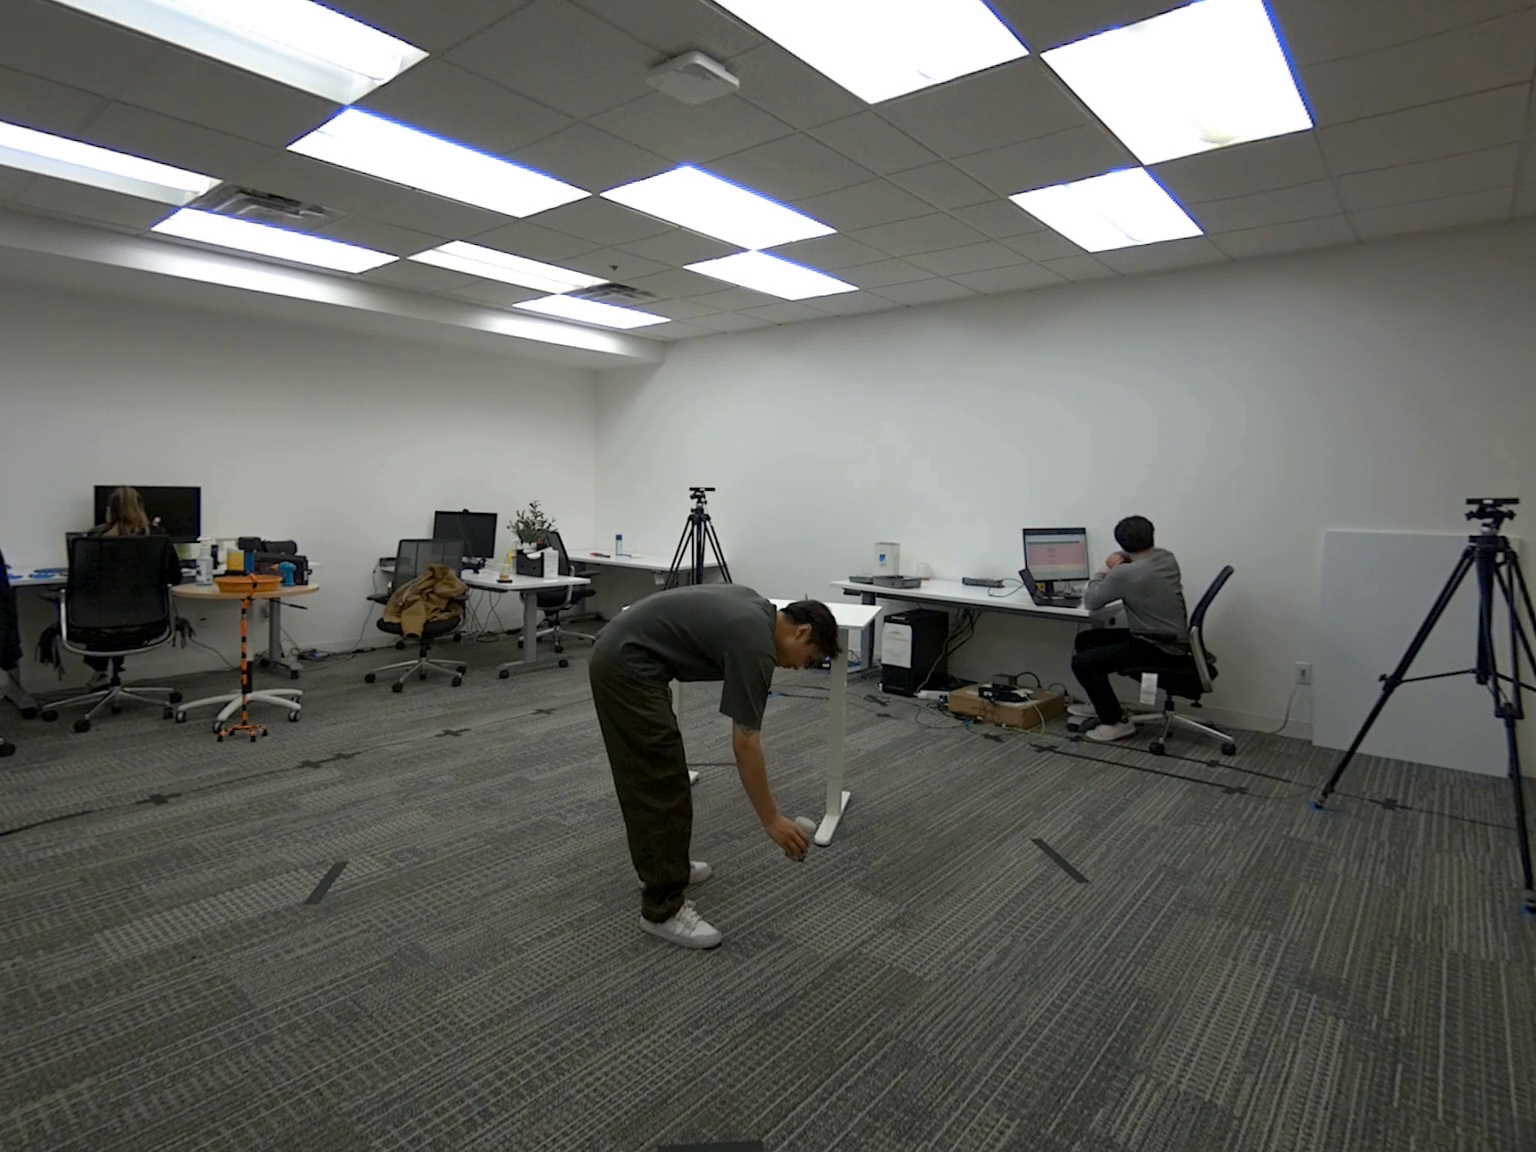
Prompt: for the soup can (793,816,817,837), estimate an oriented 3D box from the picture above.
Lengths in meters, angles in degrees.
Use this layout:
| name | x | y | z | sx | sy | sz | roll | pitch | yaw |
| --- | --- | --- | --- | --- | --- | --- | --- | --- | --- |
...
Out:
| name | x | y | z | sx | sy | sz | roll | pitch | yaw |
| --- | --- | --- | --- | --- | --- | --- | --- | --- | --- |
| soup can | 0.096 | 0.820 | 2.627 | 0.067 | 0.121 | 0.067 | 15 | 4 | -3 |
